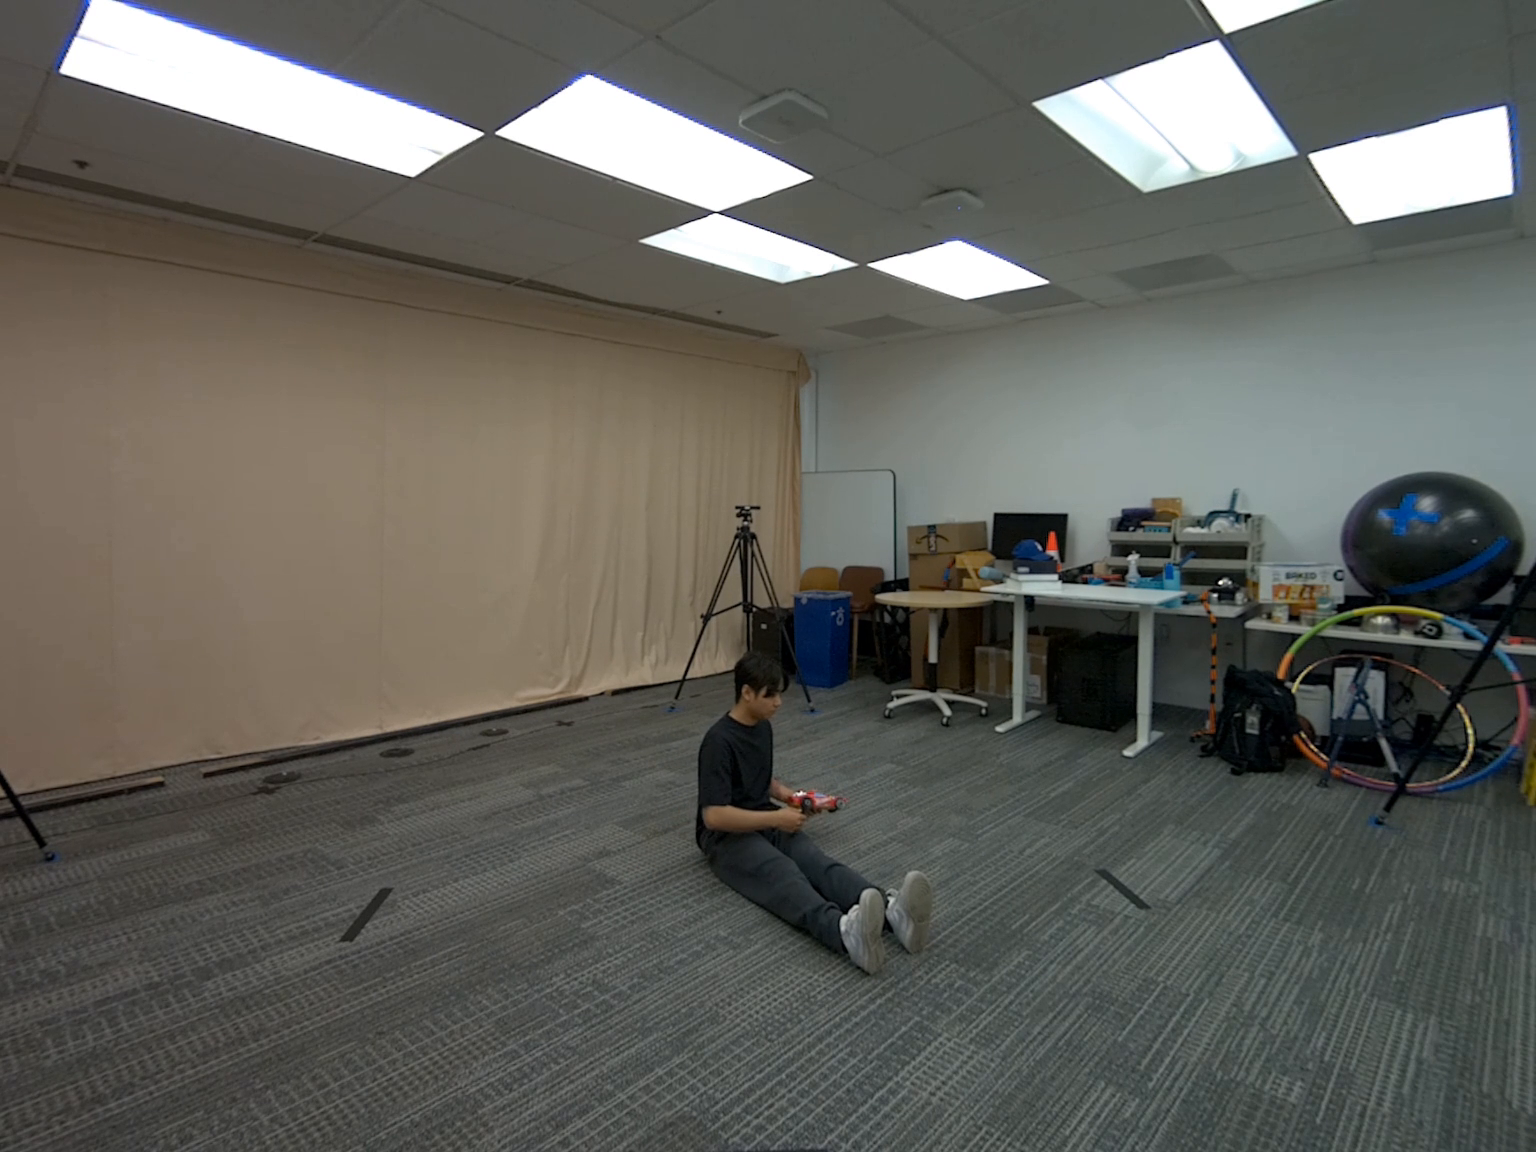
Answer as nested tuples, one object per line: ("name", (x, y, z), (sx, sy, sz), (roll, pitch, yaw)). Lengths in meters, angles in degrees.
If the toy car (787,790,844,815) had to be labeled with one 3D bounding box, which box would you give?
("toy car", (0.202, 0.950, 3.517), (0.252, 0.084, 0.130), (15, -27, -7))
